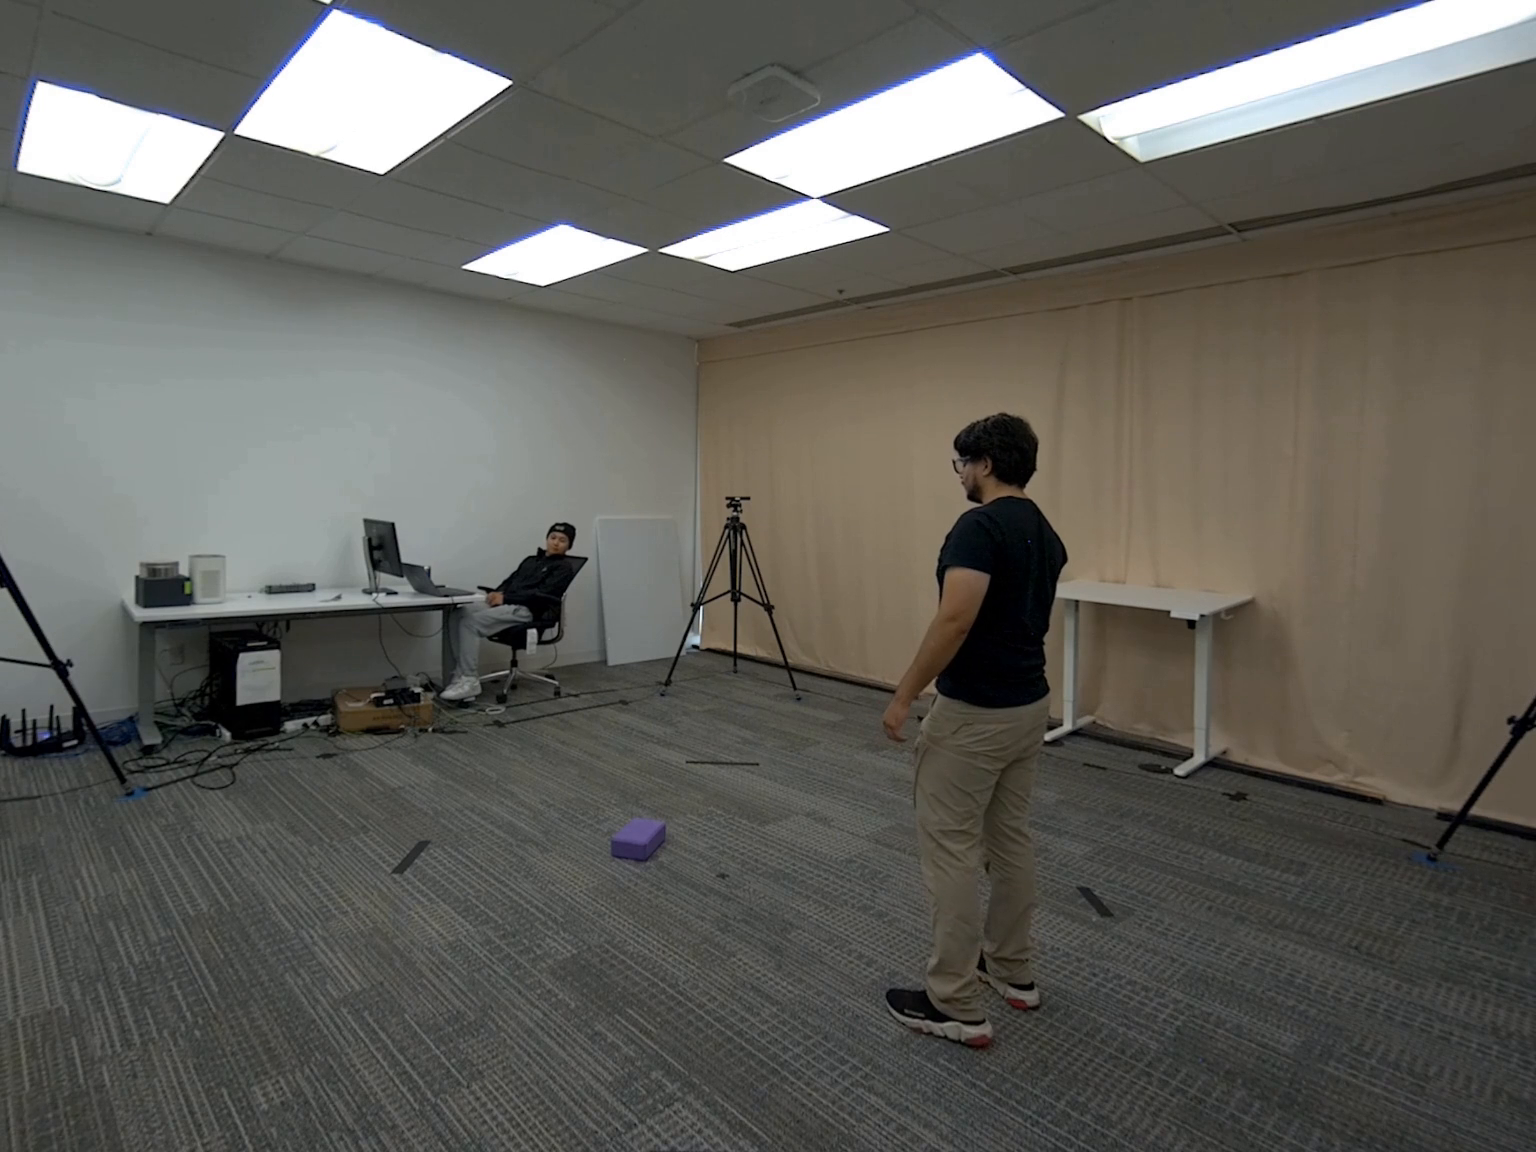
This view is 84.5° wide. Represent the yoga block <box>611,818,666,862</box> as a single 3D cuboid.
[{"bbox_3d":[-0.517,1.036,3.327,0.151,0.076,0.227,4,4,14],"label":"yoga block"}]
